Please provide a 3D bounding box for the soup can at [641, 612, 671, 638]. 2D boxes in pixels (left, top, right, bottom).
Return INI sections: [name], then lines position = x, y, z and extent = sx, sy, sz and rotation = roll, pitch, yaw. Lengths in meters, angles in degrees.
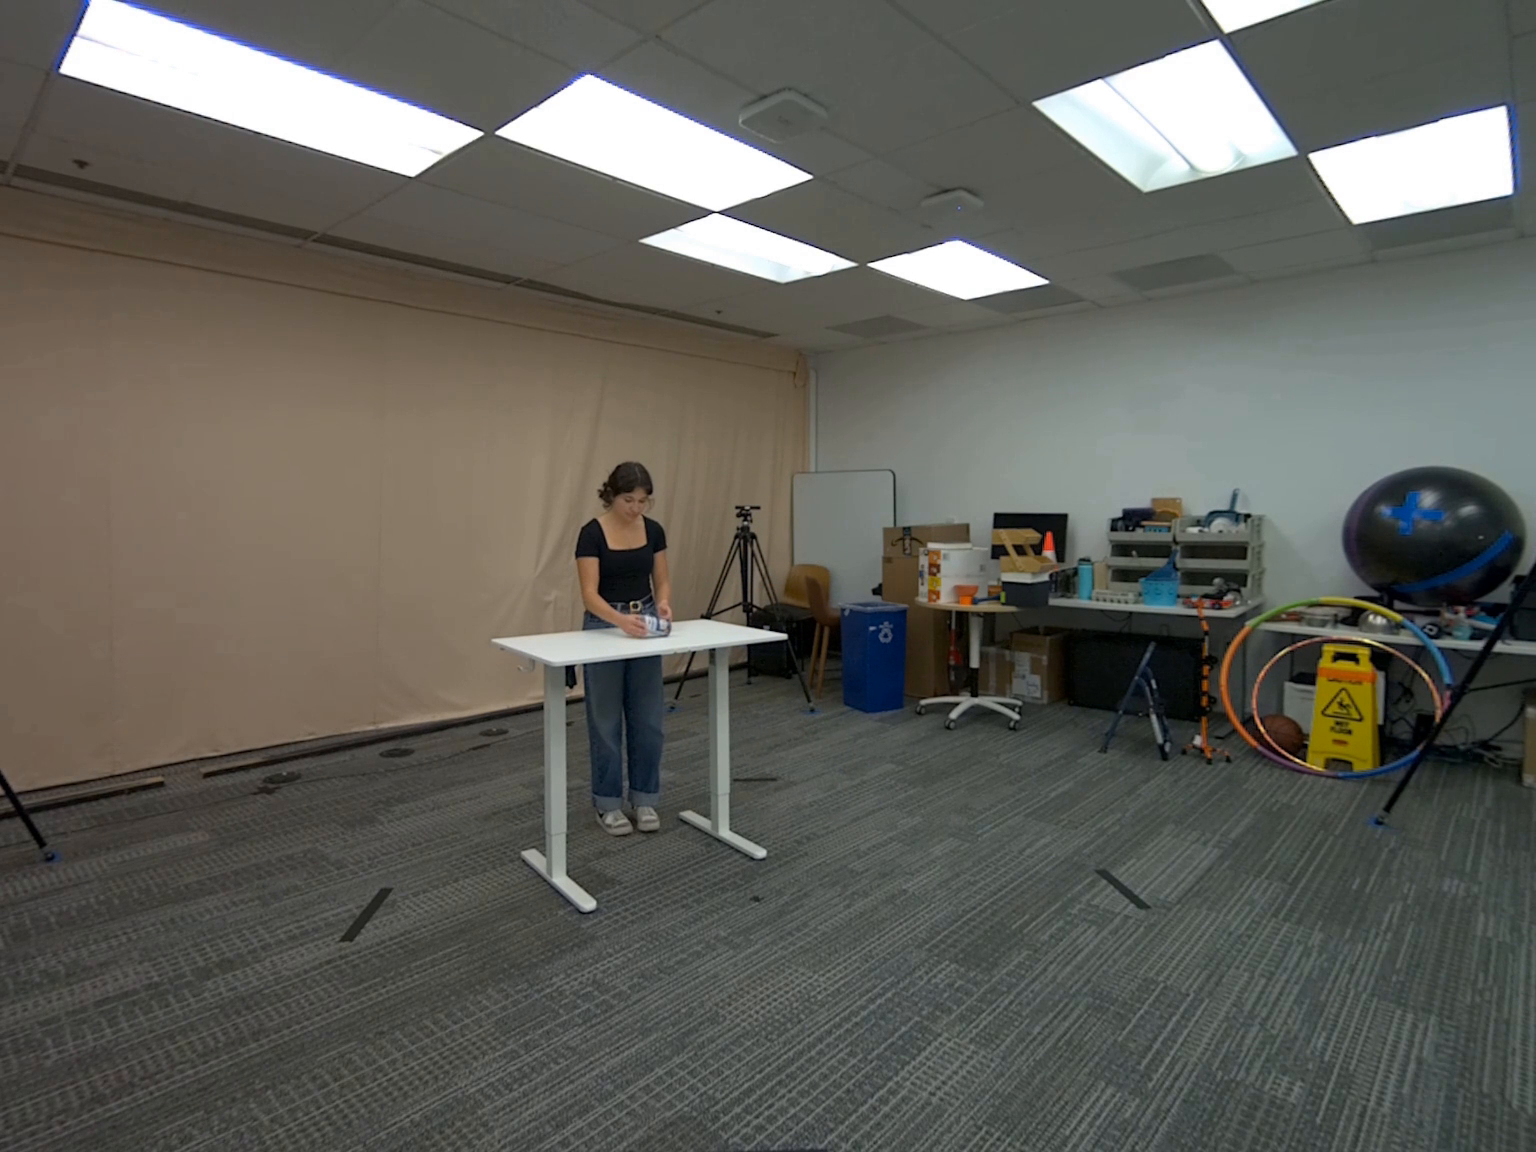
[soup can]
position = -0.440, 0.198, 3.311
extent = 0.120, 0.067, 0.068
rotation = 3, 3, -12
